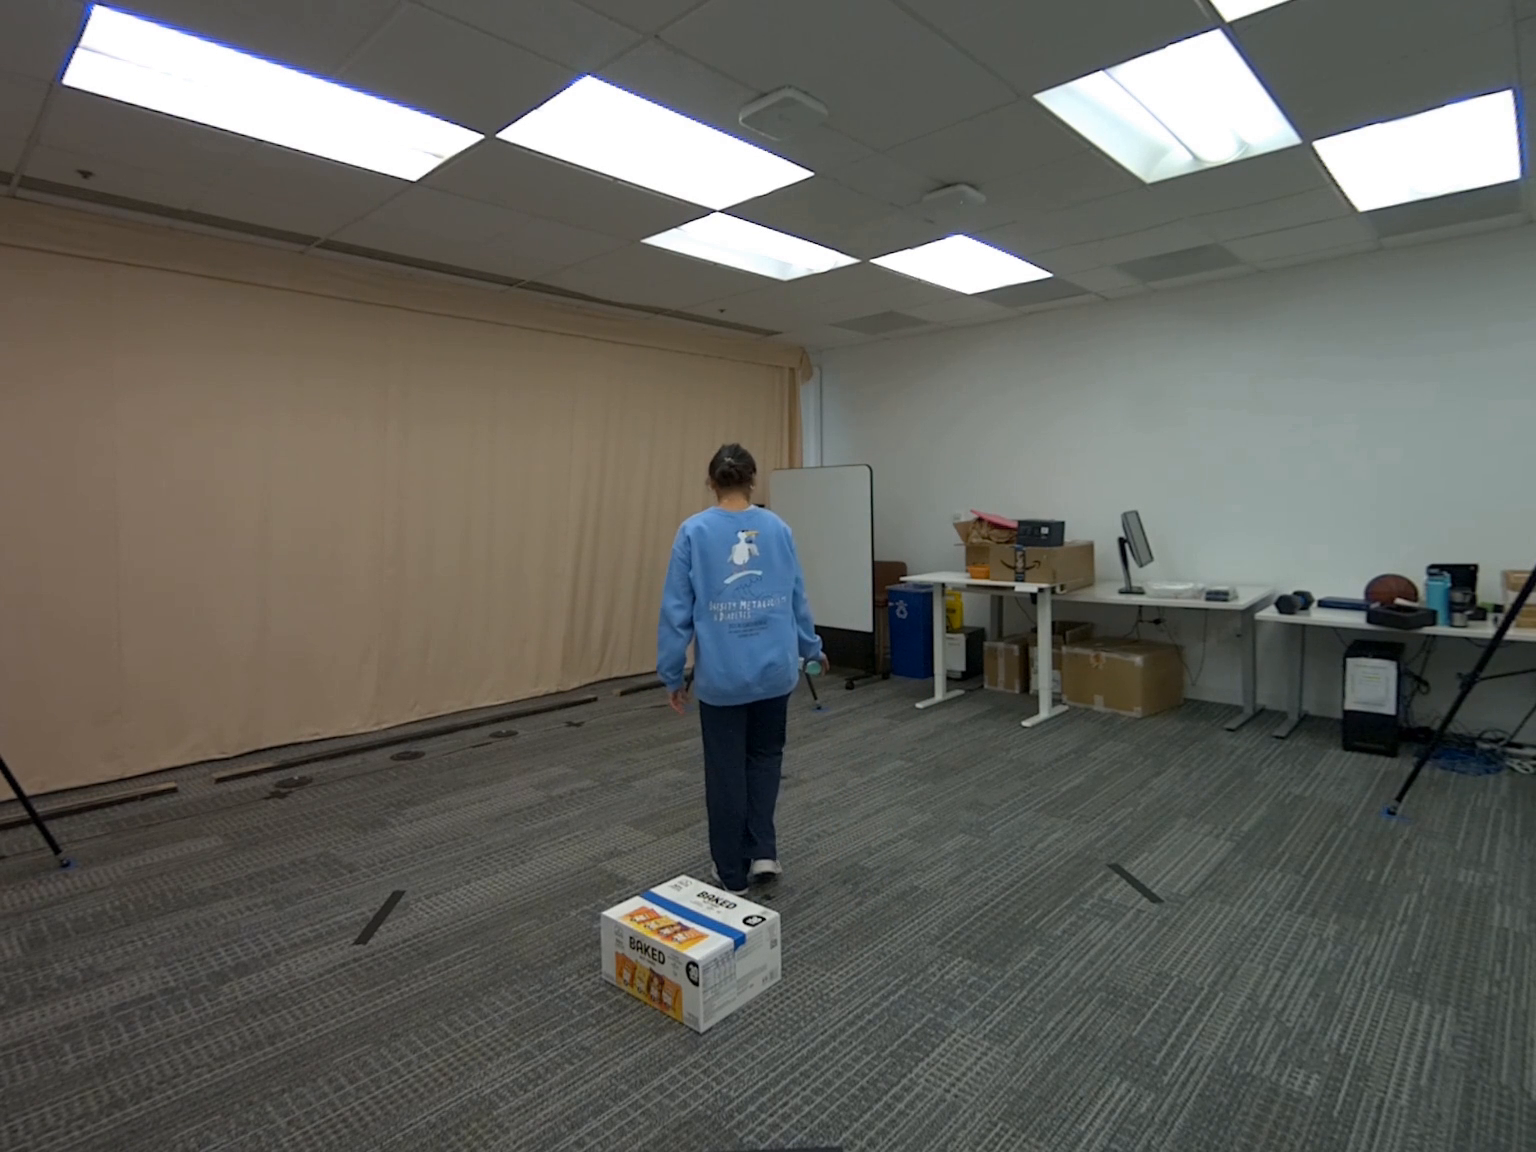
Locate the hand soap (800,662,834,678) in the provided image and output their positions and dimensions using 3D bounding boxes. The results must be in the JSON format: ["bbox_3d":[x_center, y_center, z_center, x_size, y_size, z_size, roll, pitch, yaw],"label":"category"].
[{"bbox_3d":[0.173,0.364,3.391,0.082,0.043,0.173,-3,4,-34],"label":"hand soap"}]
